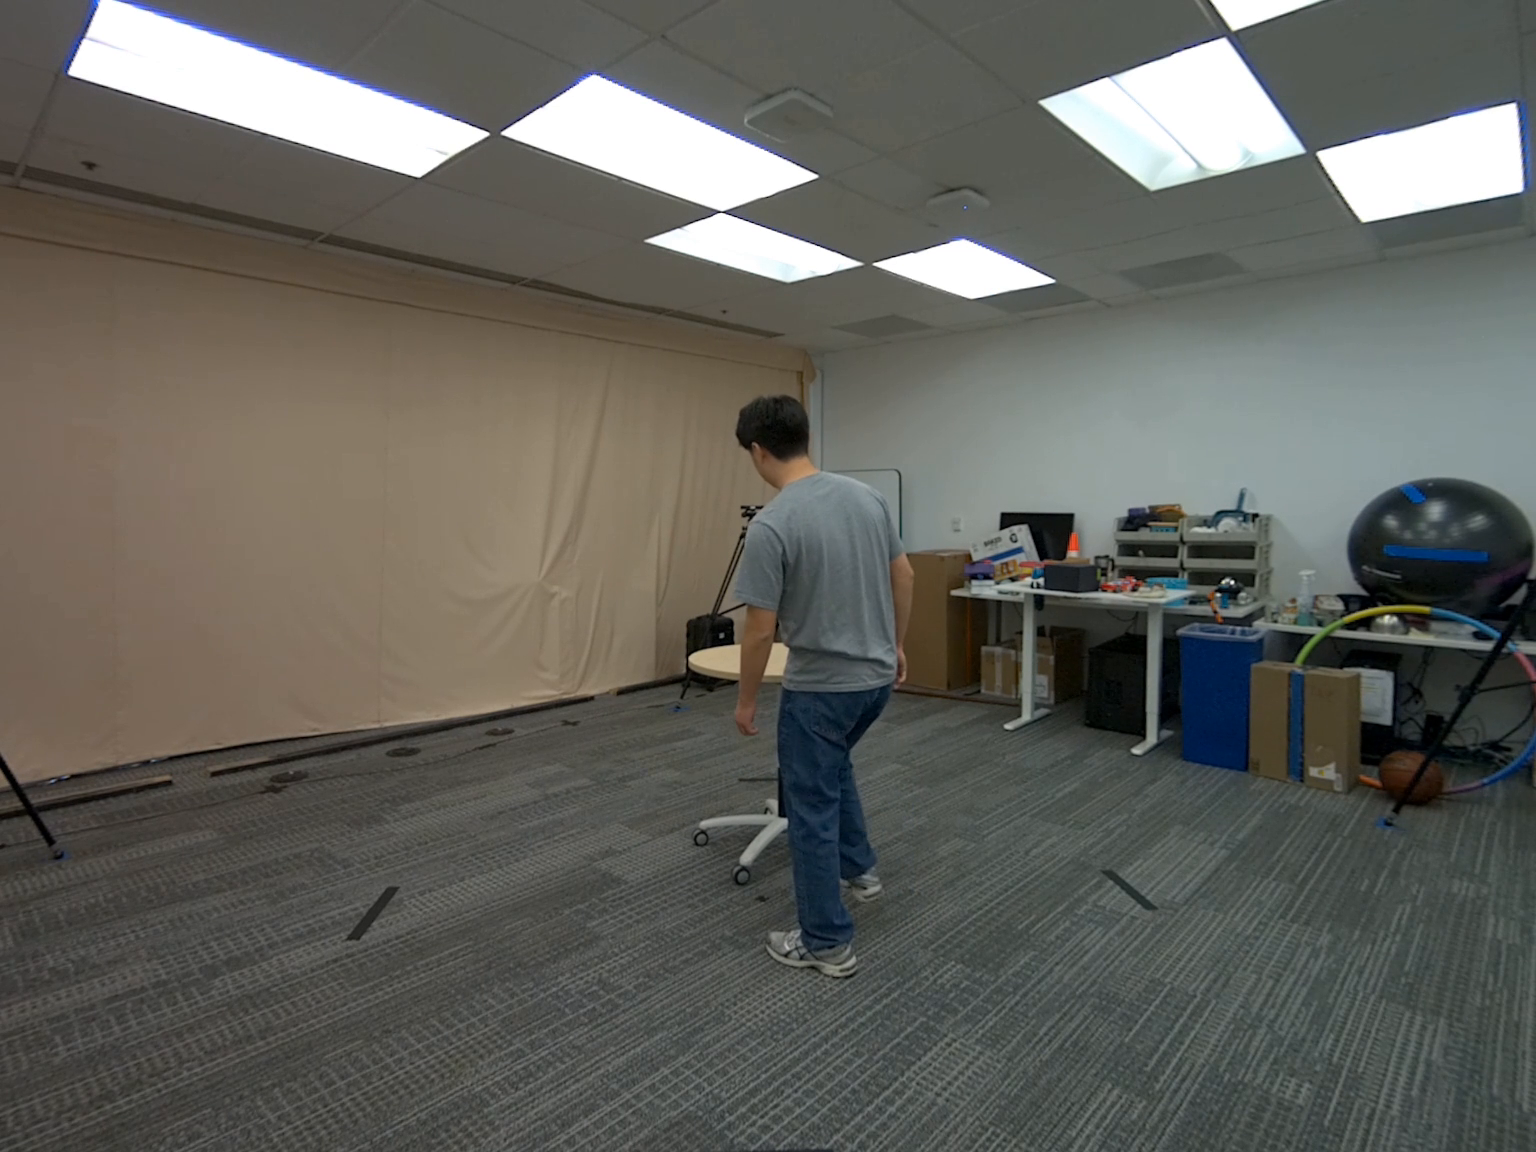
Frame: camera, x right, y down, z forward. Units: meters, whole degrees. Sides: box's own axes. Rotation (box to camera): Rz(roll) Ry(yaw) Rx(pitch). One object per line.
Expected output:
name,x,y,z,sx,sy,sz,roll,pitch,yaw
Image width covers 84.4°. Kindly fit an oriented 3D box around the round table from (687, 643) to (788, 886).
round table,0.063,0.720,3.386,0.763,0.792,0.766,0,3,-2
